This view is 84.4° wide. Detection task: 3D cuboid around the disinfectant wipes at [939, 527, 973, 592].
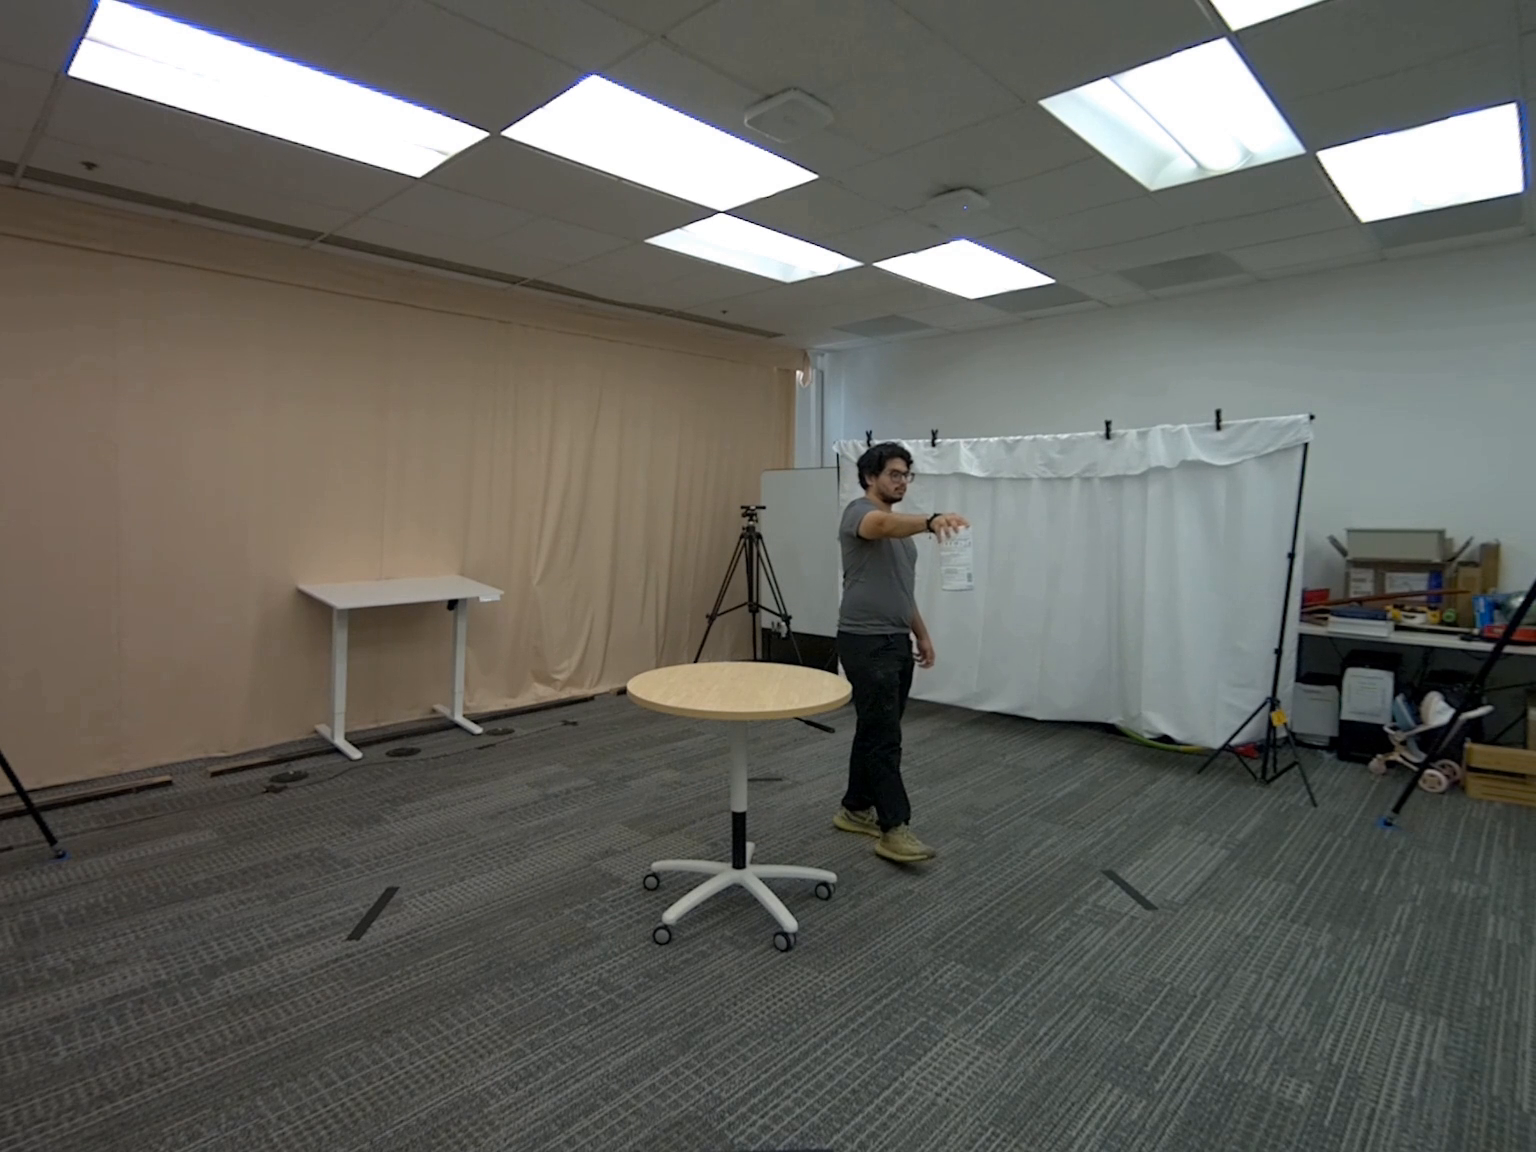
[{"bbox_3d":[0.639,-0.056,2.834,0.118,0.217,0.118,-3,4,-2],"label":"disinfectant wipes"}]
